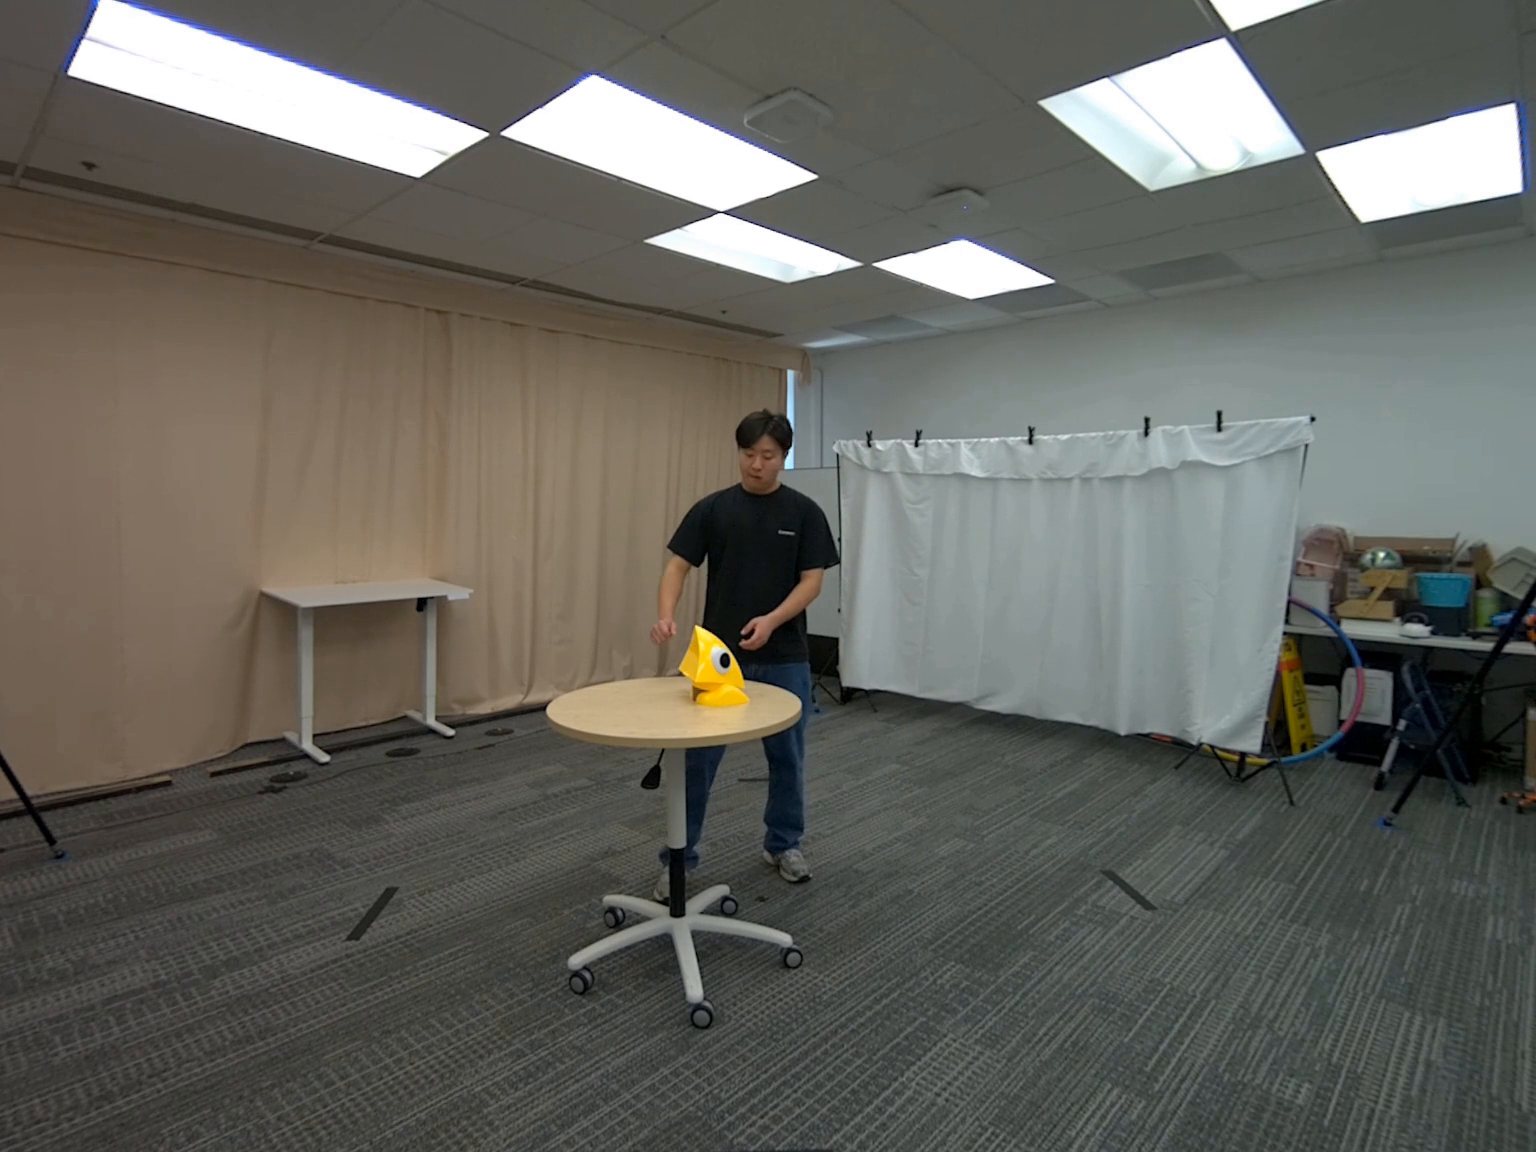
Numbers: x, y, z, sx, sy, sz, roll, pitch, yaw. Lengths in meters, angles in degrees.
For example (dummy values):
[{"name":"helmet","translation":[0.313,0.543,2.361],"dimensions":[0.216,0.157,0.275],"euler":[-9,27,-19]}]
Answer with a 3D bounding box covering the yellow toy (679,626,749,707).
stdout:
[{"name":"yellow toy","translation":[-0.163,0.265,2.601],"dimensions":[0.189,0.230,0.209],"euler":[-1,4,-19]}]
